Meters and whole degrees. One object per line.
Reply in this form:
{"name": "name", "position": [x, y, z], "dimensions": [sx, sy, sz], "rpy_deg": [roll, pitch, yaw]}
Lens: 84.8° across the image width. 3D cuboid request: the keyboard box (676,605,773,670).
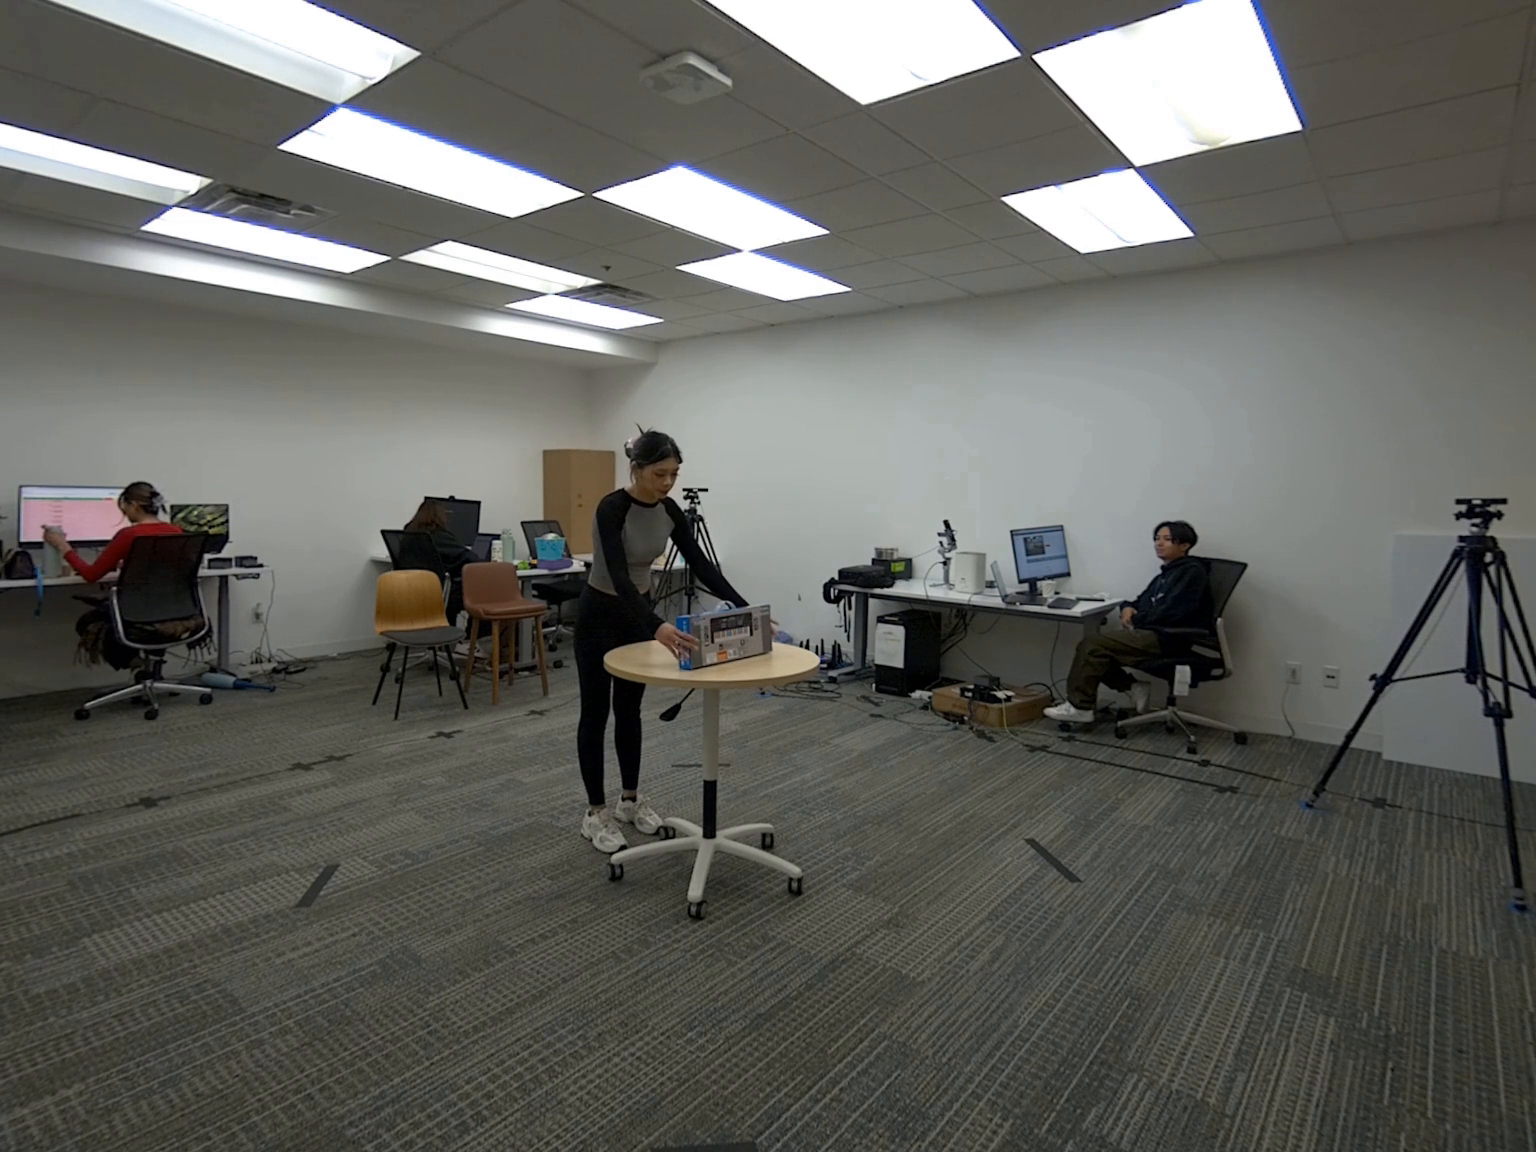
{"name": "keyboard box", "position": [-0.151, 0.206, 2.964], "dimensions": [0.061, 0.176, 0.424], "rpy_deg": [-3, 2, 40]}
